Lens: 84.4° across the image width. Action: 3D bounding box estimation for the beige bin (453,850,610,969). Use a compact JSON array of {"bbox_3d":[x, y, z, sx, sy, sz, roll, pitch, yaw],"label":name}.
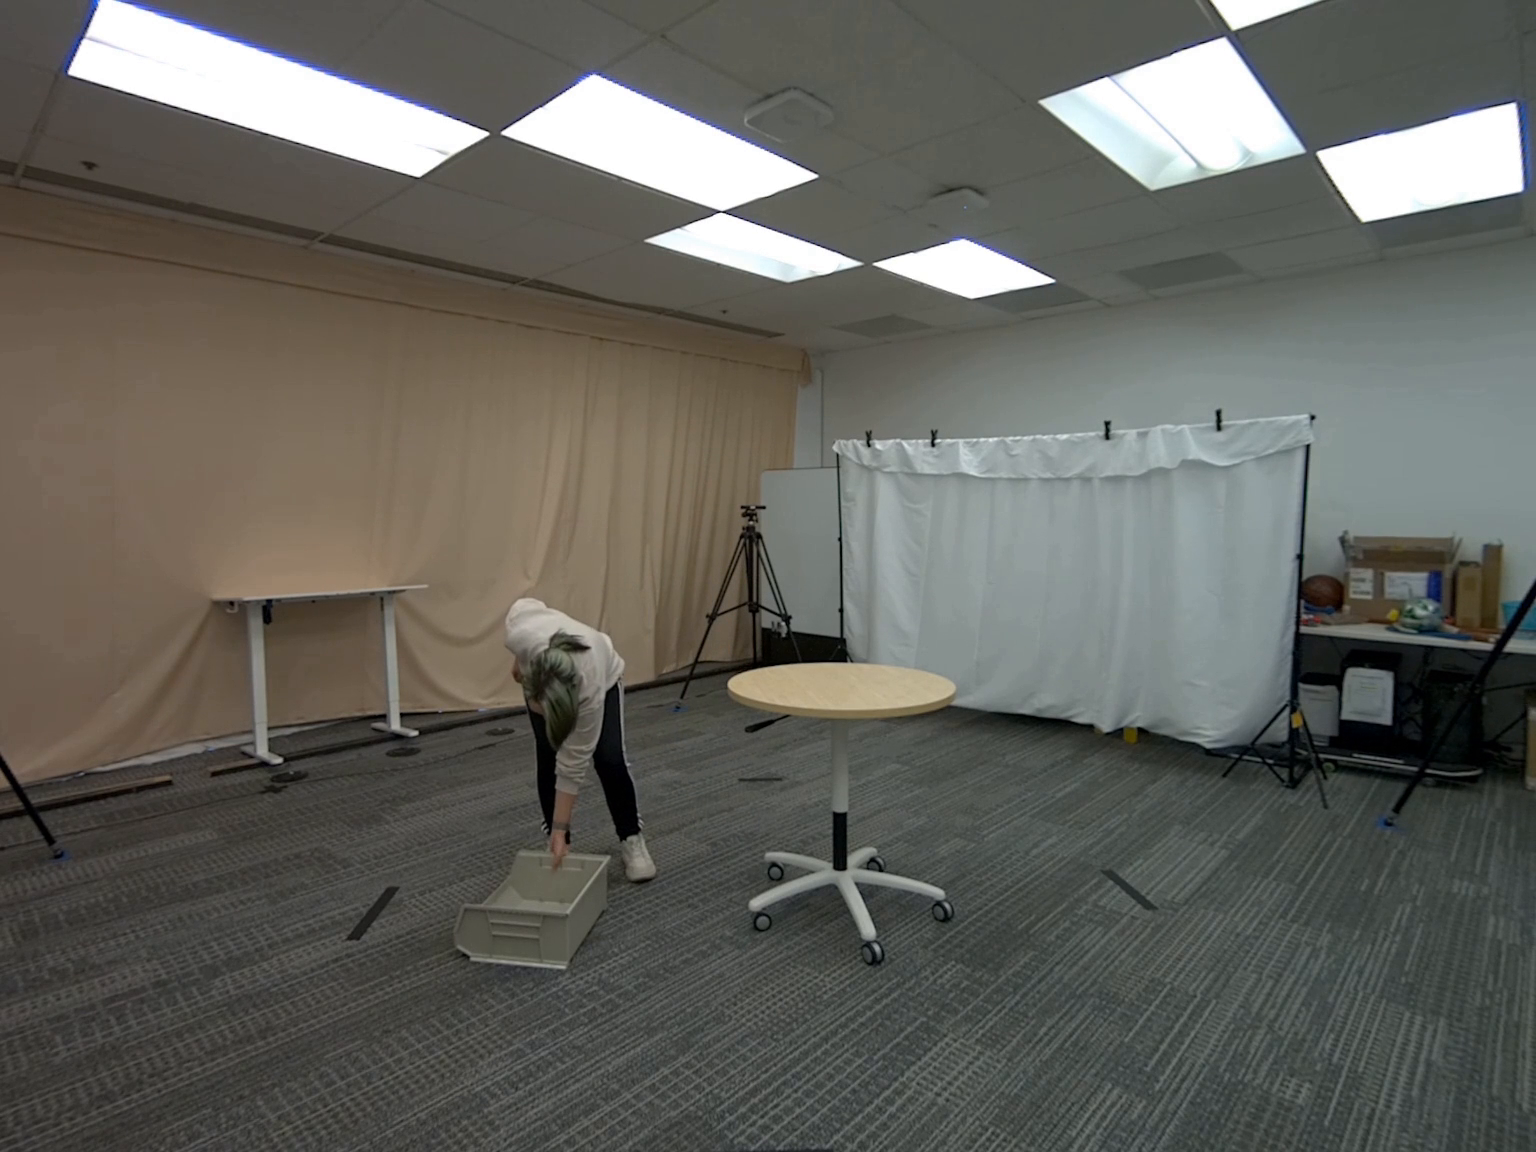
[{"bbox_3d":[-0.760,1.071,2.759,0.381,0.188,0.419,2,4,8],"label":"beige bin"}]
